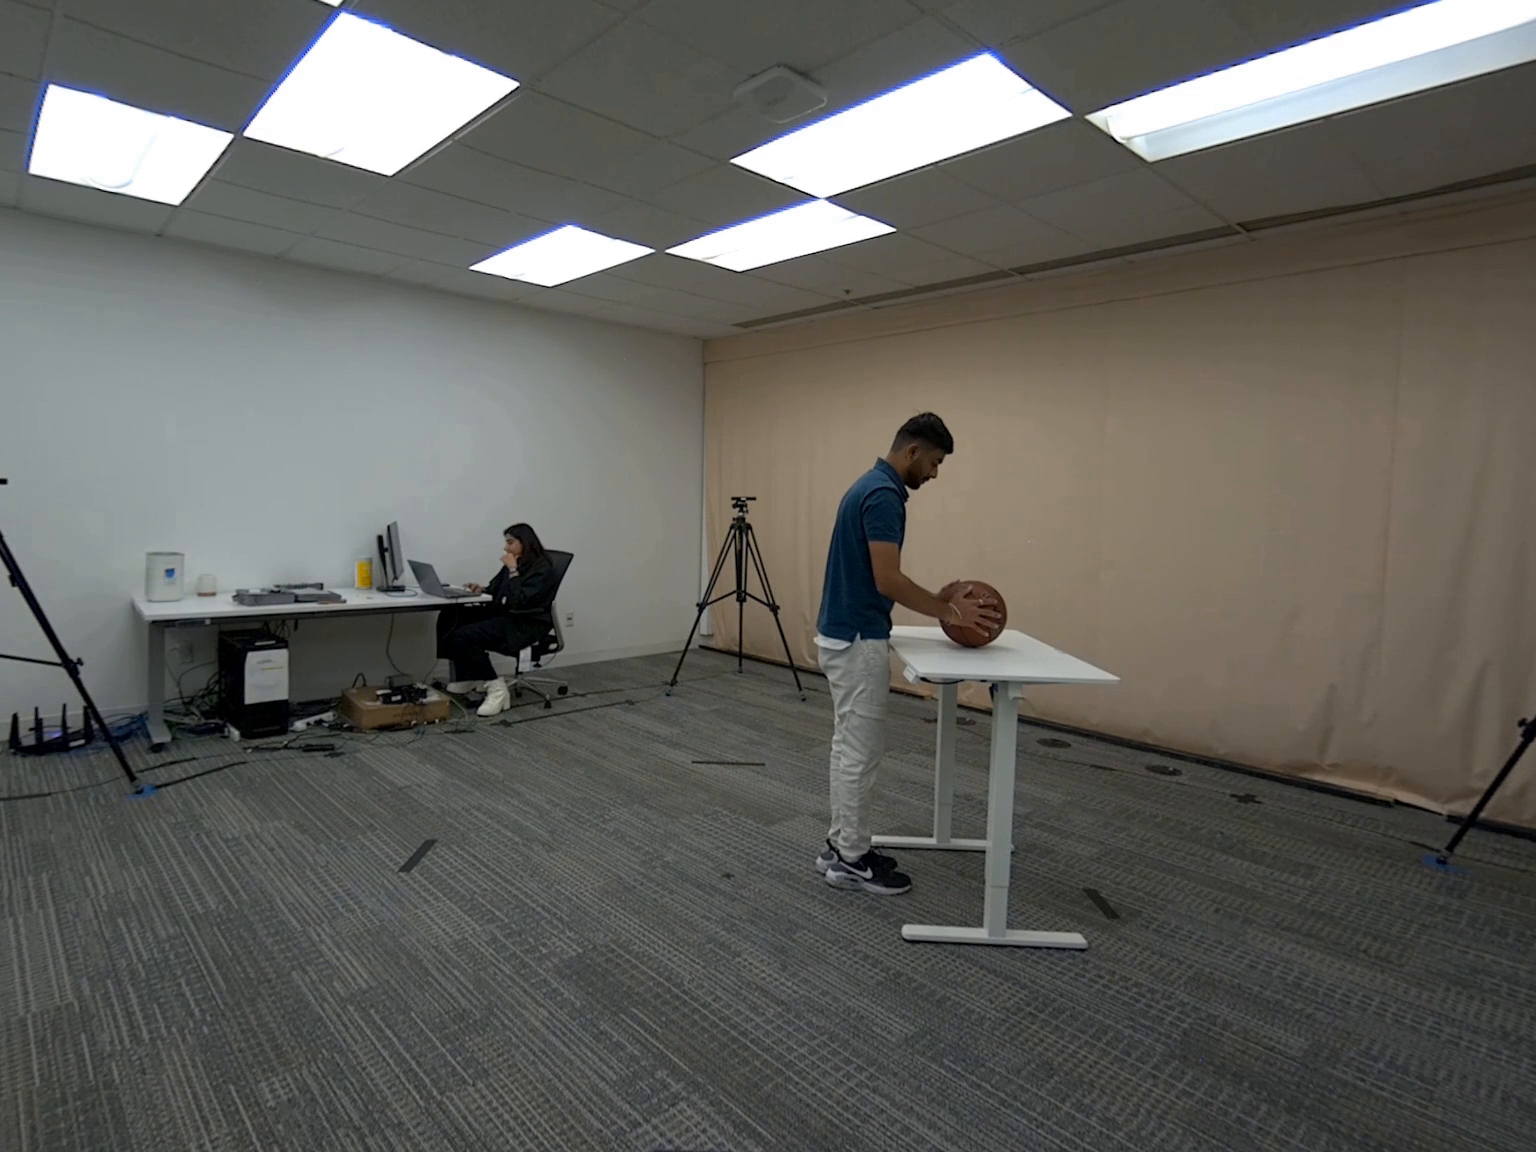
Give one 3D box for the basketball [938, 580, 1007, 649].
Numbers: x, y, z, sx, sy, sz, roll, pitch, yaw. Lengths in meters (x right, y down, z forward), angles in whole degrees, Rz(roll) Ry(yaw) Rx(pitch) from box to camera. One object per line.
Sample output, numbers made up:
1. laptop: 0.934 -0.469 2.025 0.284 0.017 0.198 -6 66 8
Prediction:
1. basketball: 0.727 0.133 3.025 0.236 0.235 0.237 1 4 -1
